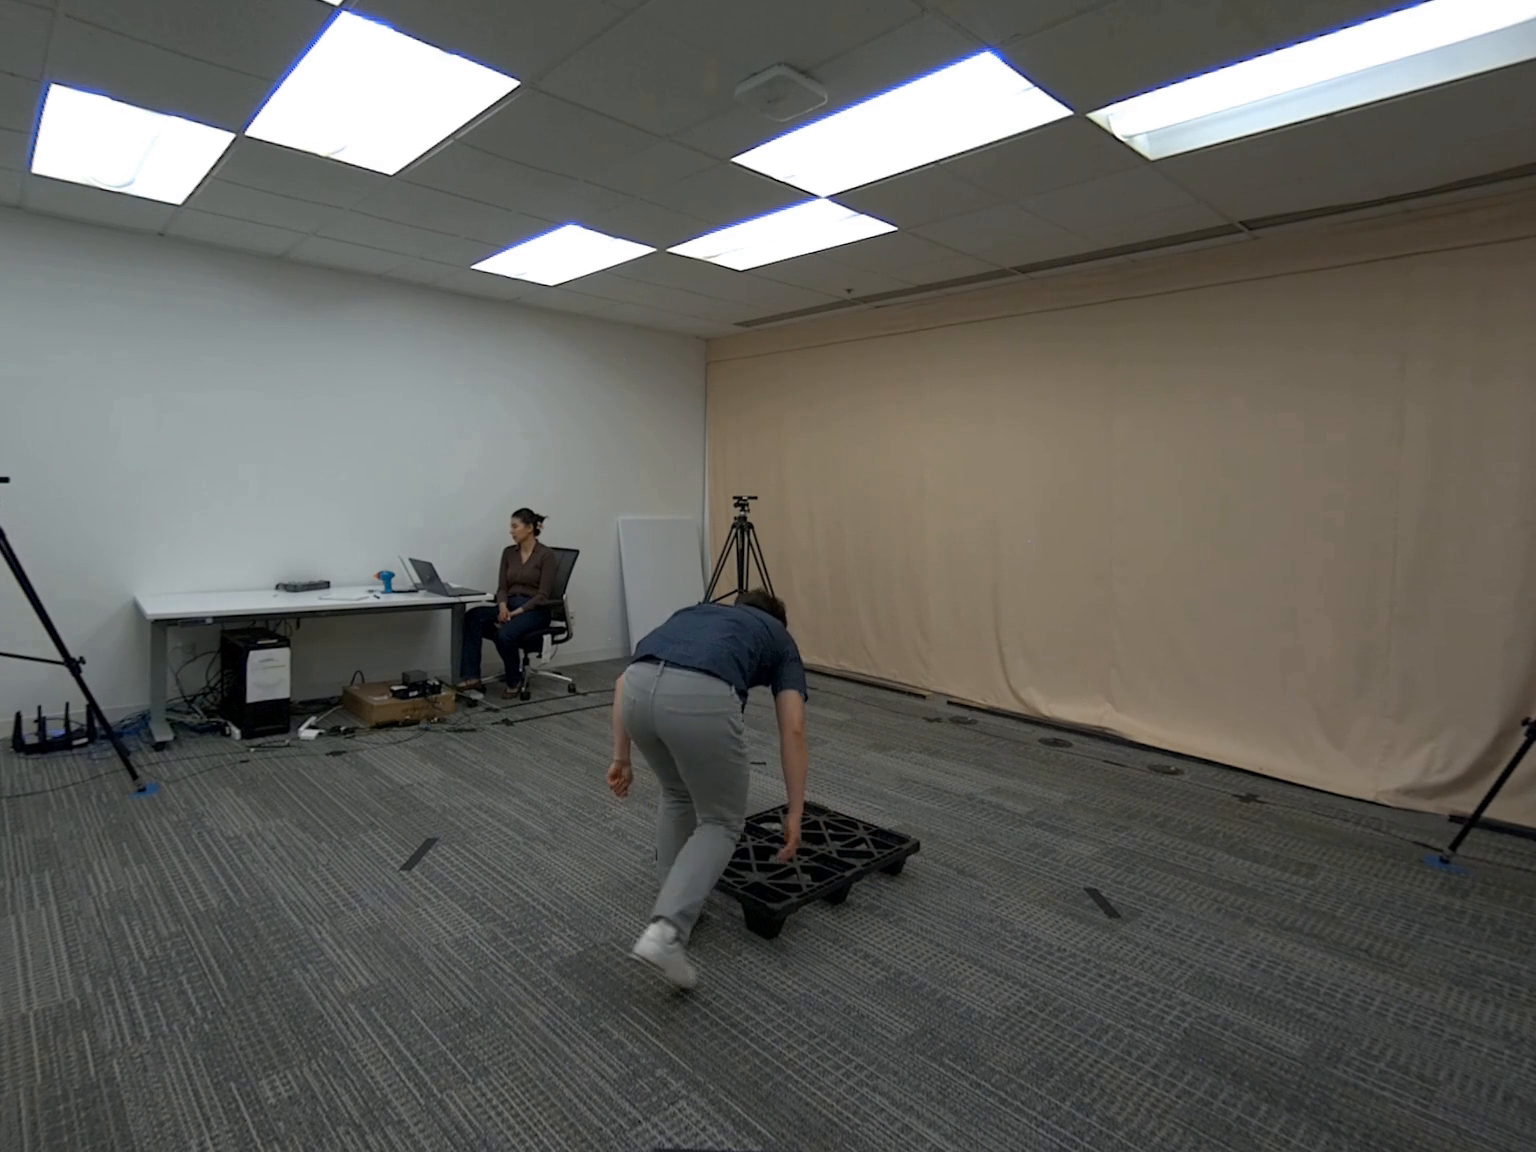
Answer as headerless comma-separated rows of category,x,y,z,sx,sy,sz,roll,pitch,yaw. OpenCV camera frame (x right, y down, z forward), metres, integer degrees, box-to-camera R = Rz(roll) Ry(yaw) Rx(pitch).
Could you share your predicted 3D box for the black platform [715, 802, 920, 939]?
black platform,0.081,1.046,3.063,0.621,0.143,0.787,7,8,44
